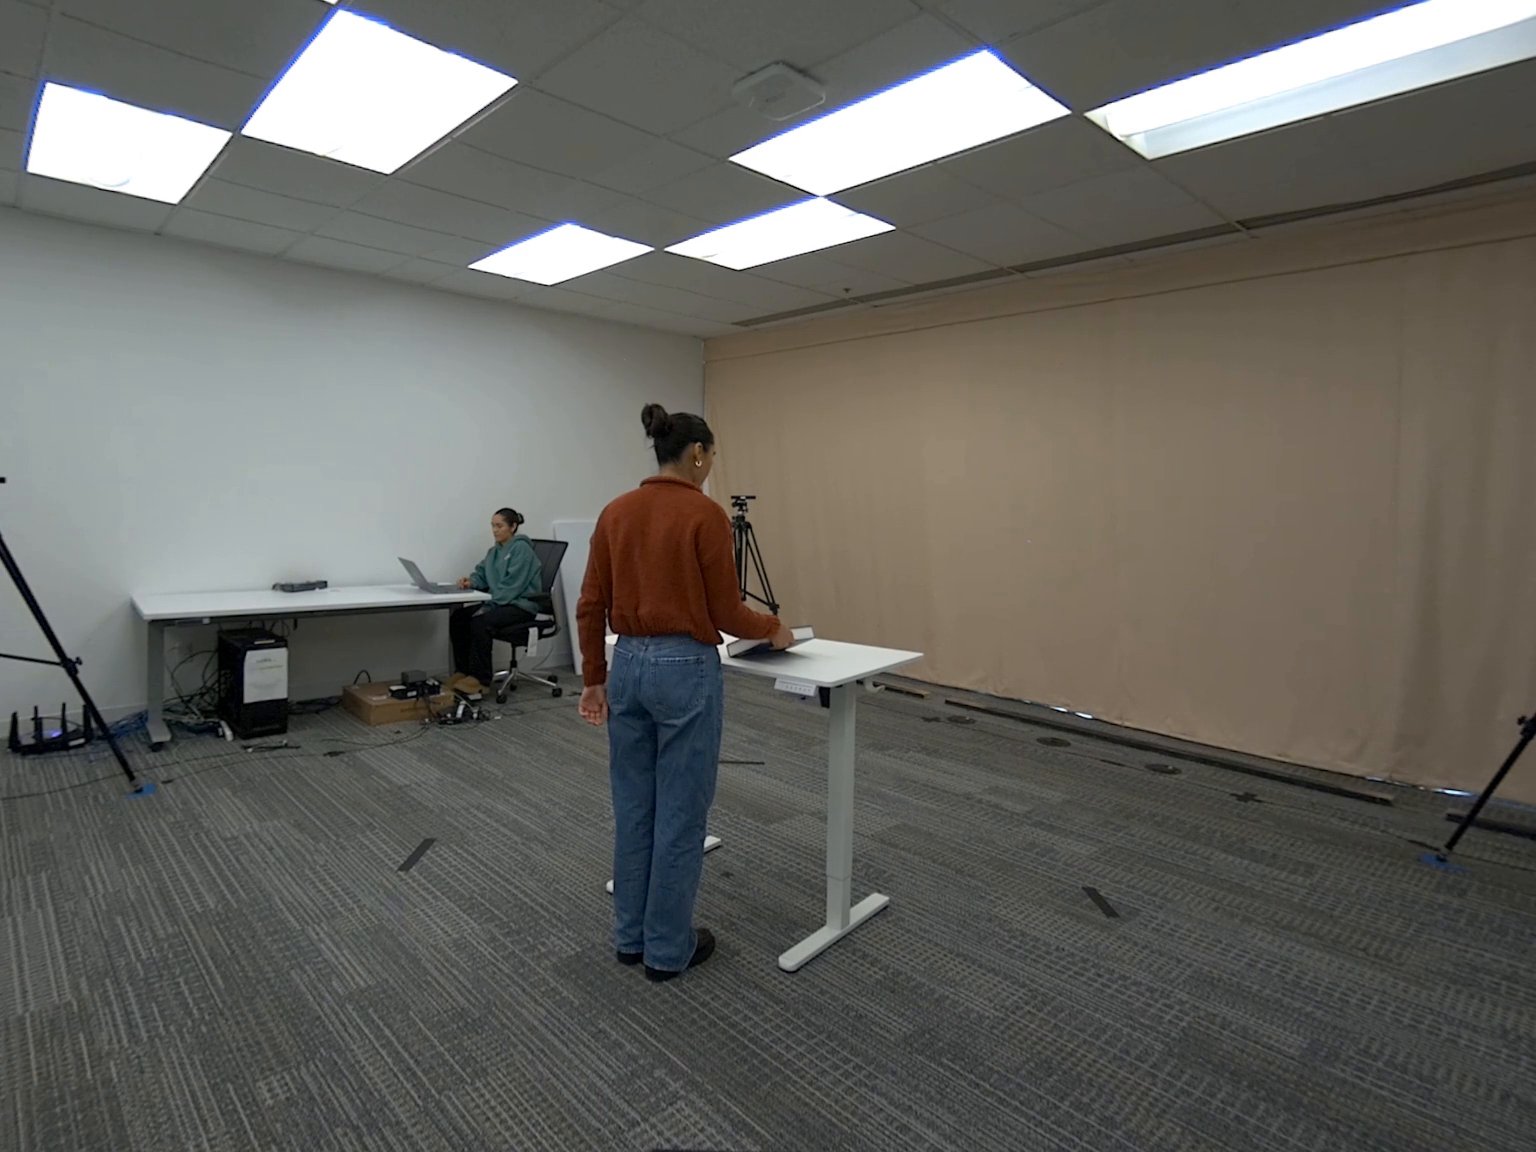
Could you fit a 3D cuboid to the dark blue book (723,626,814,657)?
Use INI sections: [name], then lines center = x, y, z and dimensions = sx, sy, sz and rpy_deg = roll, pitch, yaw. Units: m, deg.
[dark blue book]
center = 0.001, 0.215, 2.704
dimensions = 0.239, 0.046, 0.165
rpy_deg = -3, -16, -39
